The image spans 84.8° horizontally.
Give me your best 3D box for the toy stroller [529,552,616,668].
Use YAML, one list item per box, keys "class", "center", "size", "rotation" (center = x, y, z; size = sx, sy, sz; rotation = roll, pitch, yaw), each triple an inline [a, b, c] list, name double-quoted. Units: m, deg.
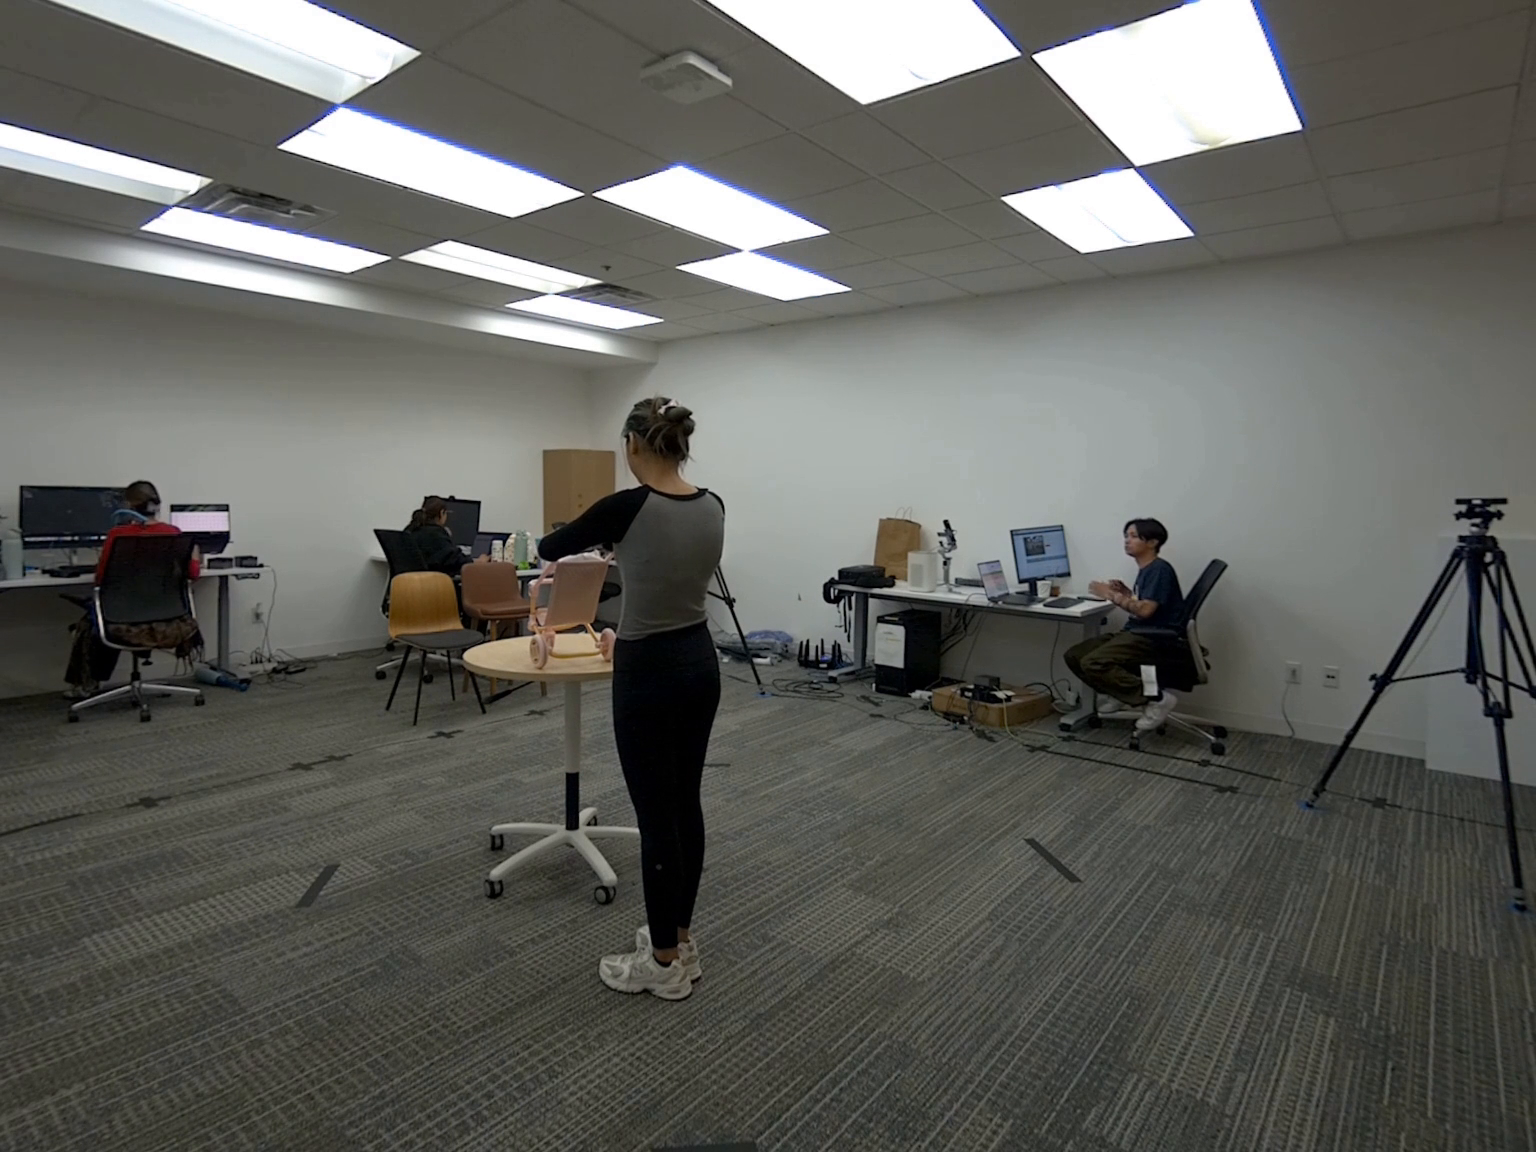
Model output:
- class: "toy stroller"
  center: [-0.687, 0.067, 2.890]
  size: [0.274, 0.528, 0.355]
  rotation: [0, 19, -30]
